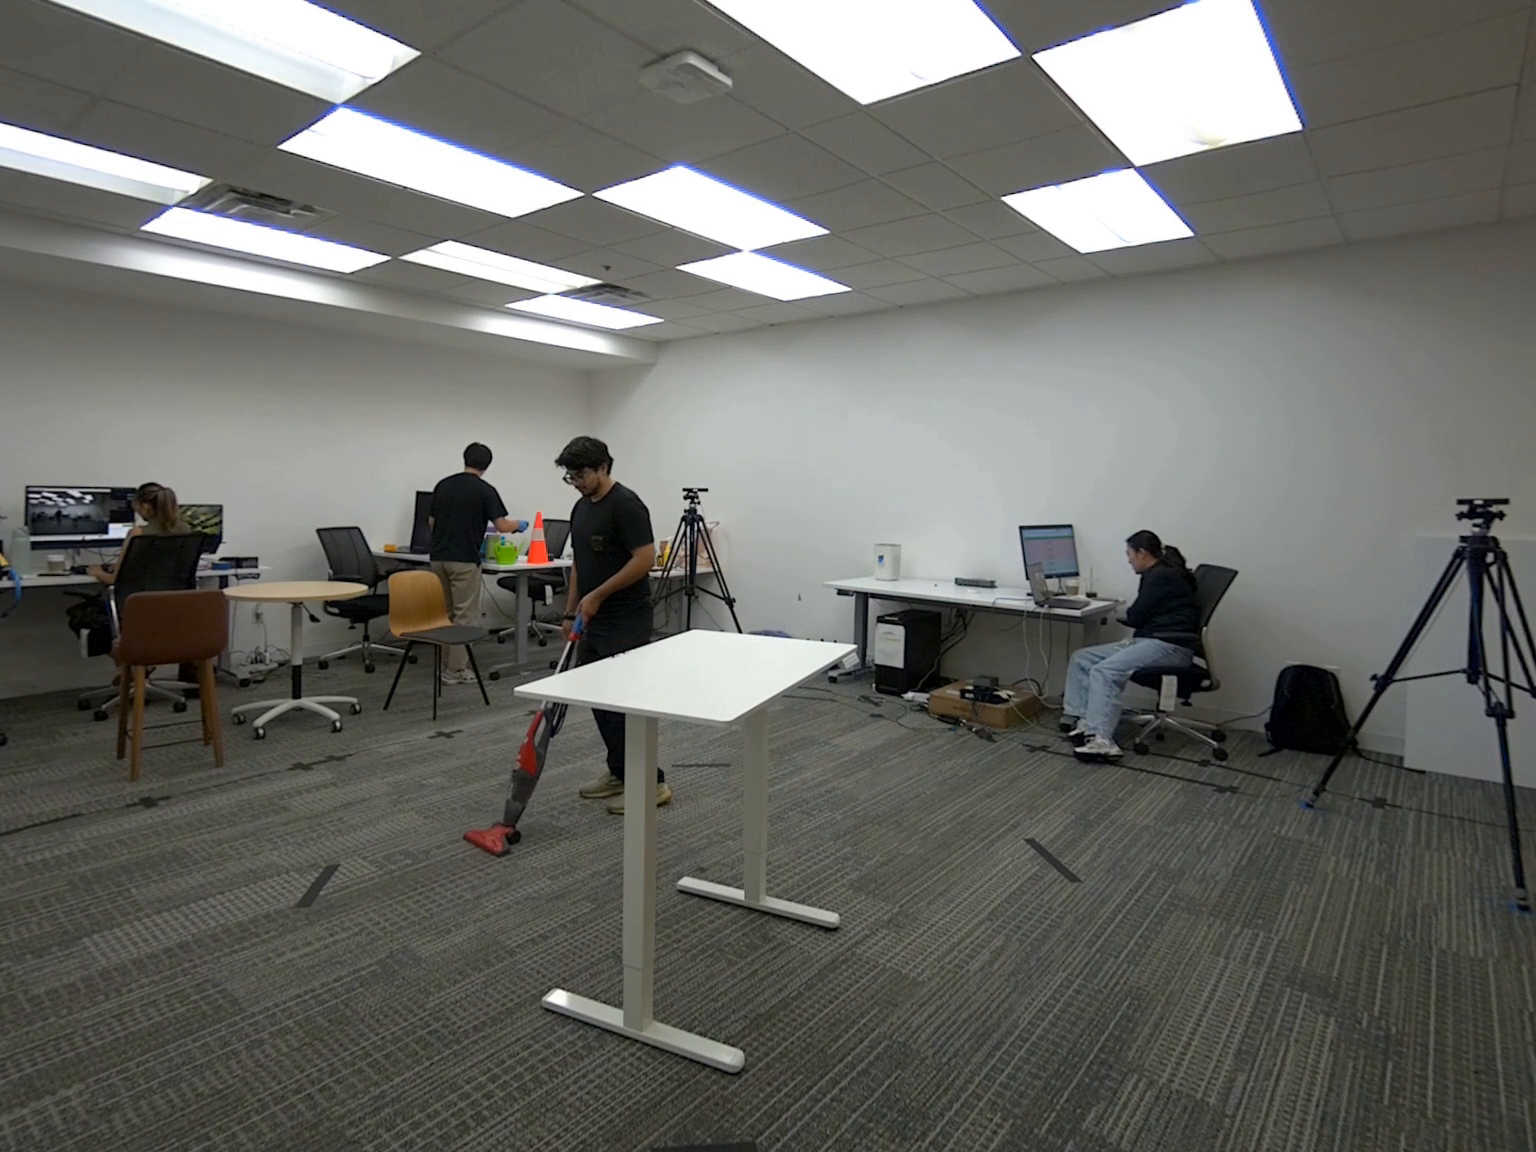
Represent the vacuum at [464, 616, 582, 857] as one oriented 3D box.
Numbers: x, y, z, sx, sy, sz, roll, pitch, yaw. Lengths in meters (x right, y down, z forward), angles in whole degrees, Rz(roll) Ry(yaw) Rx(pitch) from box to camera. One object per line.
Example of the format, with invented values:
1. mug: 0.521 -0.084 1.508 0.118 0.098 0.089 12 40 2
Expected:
1. vacuum: -0.916 0.565 3.470 0.261 1.060 0.138 5 -23 36
